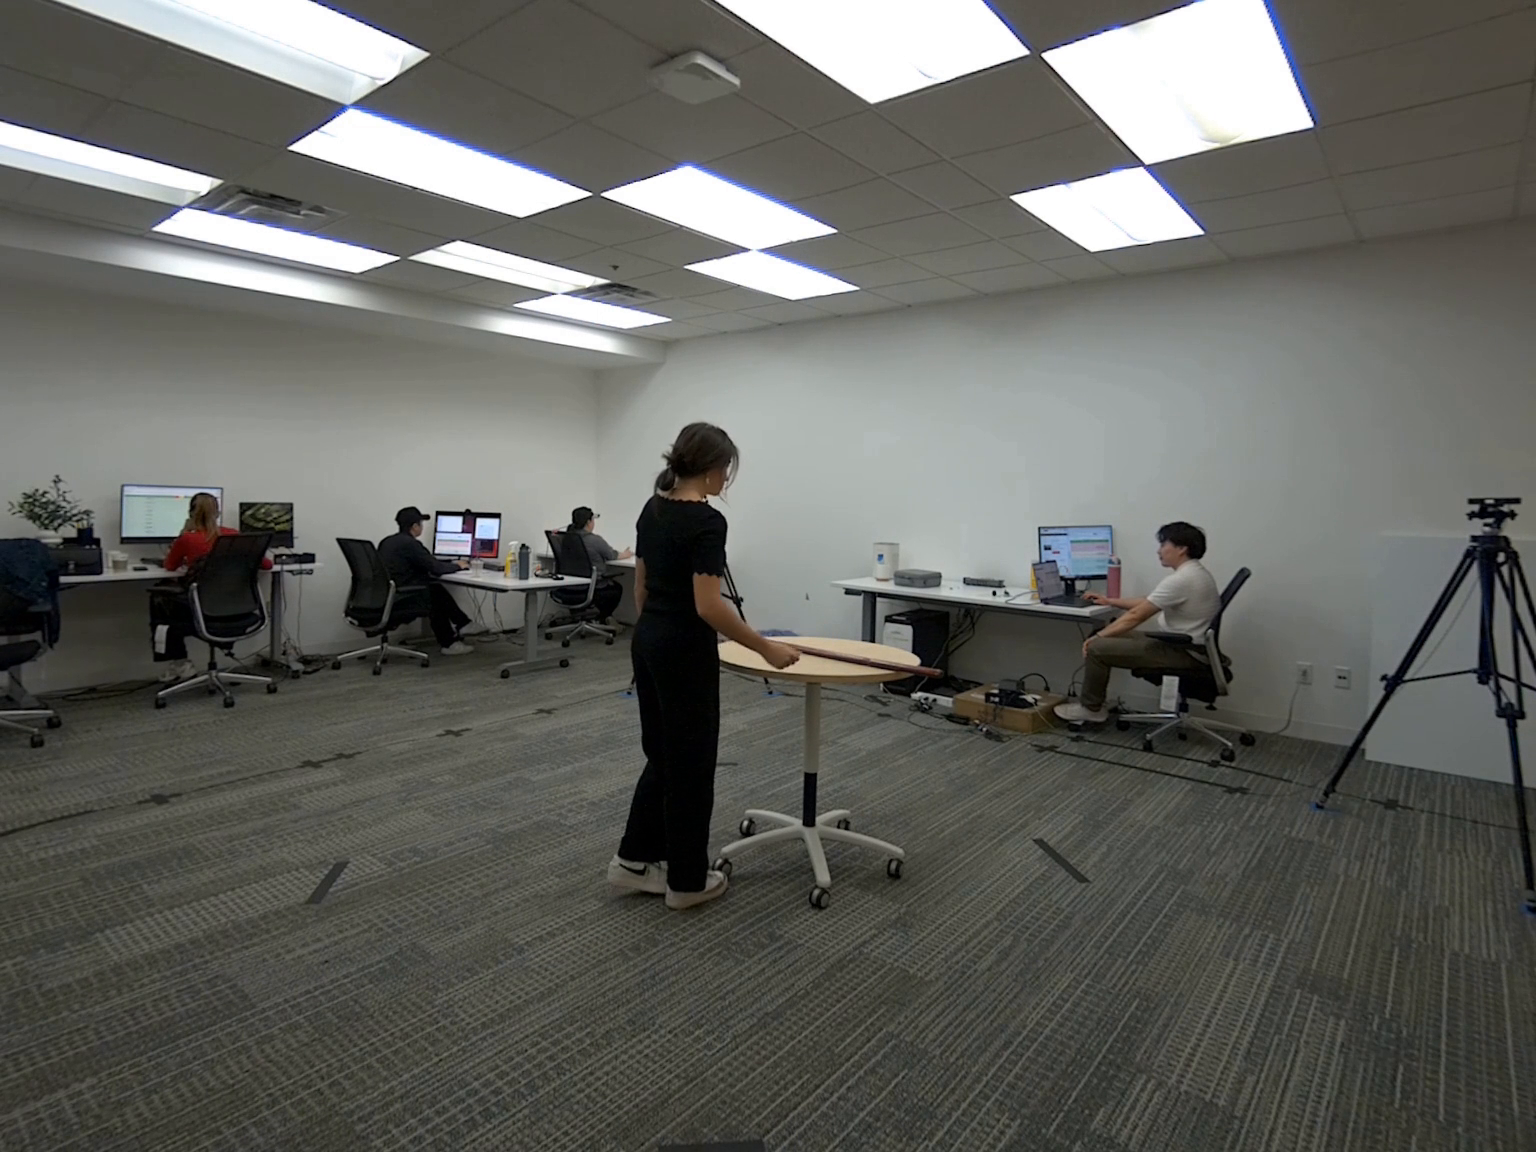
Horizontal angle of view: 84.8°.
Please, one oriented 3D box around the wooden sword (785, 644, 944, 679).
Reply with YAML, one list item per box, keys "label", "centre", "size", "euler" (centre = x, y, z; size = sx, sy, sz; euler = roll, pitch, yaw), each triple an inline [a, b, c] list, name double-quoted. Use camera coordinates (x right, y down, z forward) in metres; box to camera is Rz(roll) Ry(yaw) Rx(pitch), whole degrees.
- label: "wooden sword"
  centre: [0.192, 0.286, 3.084]
  size: [1.060, 0.024, 0.049]
  euler: [6, -36, 40]
